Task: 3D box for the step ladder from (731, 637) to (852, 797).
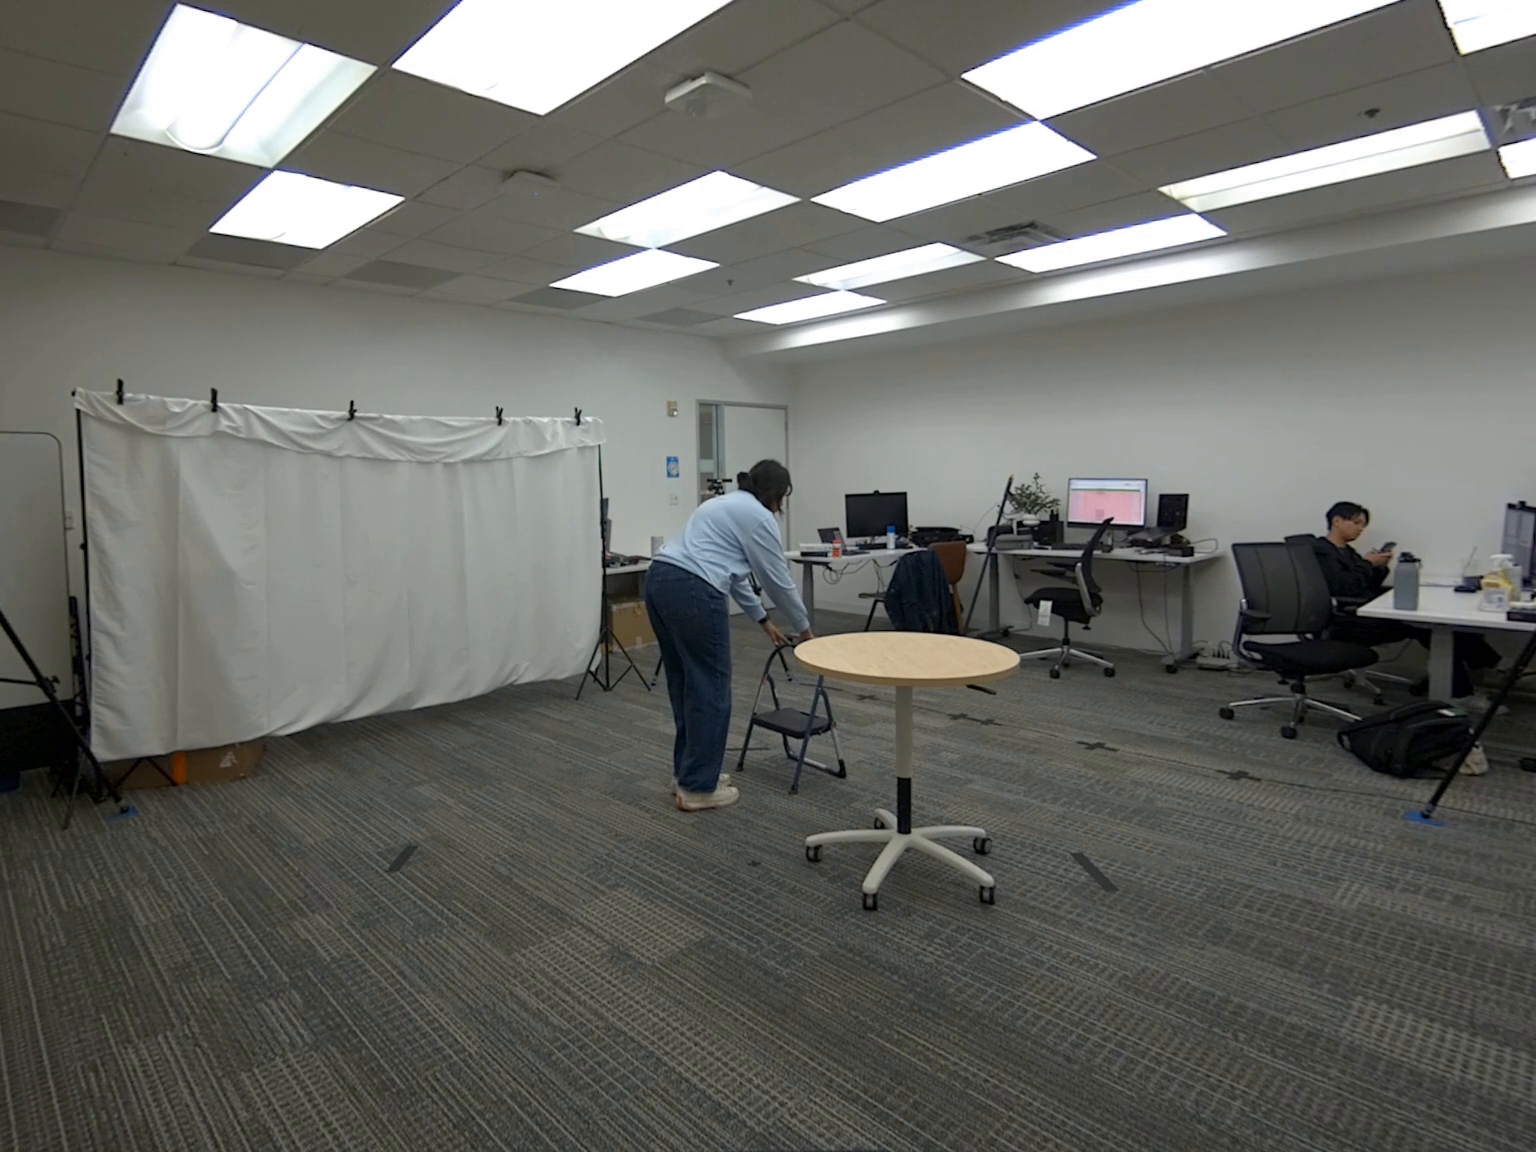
[{"bbox_3d":[0.105,0.638,4.035,0.340,0.604,0.443,-4,5,-38],"label":"step ladder"}]
